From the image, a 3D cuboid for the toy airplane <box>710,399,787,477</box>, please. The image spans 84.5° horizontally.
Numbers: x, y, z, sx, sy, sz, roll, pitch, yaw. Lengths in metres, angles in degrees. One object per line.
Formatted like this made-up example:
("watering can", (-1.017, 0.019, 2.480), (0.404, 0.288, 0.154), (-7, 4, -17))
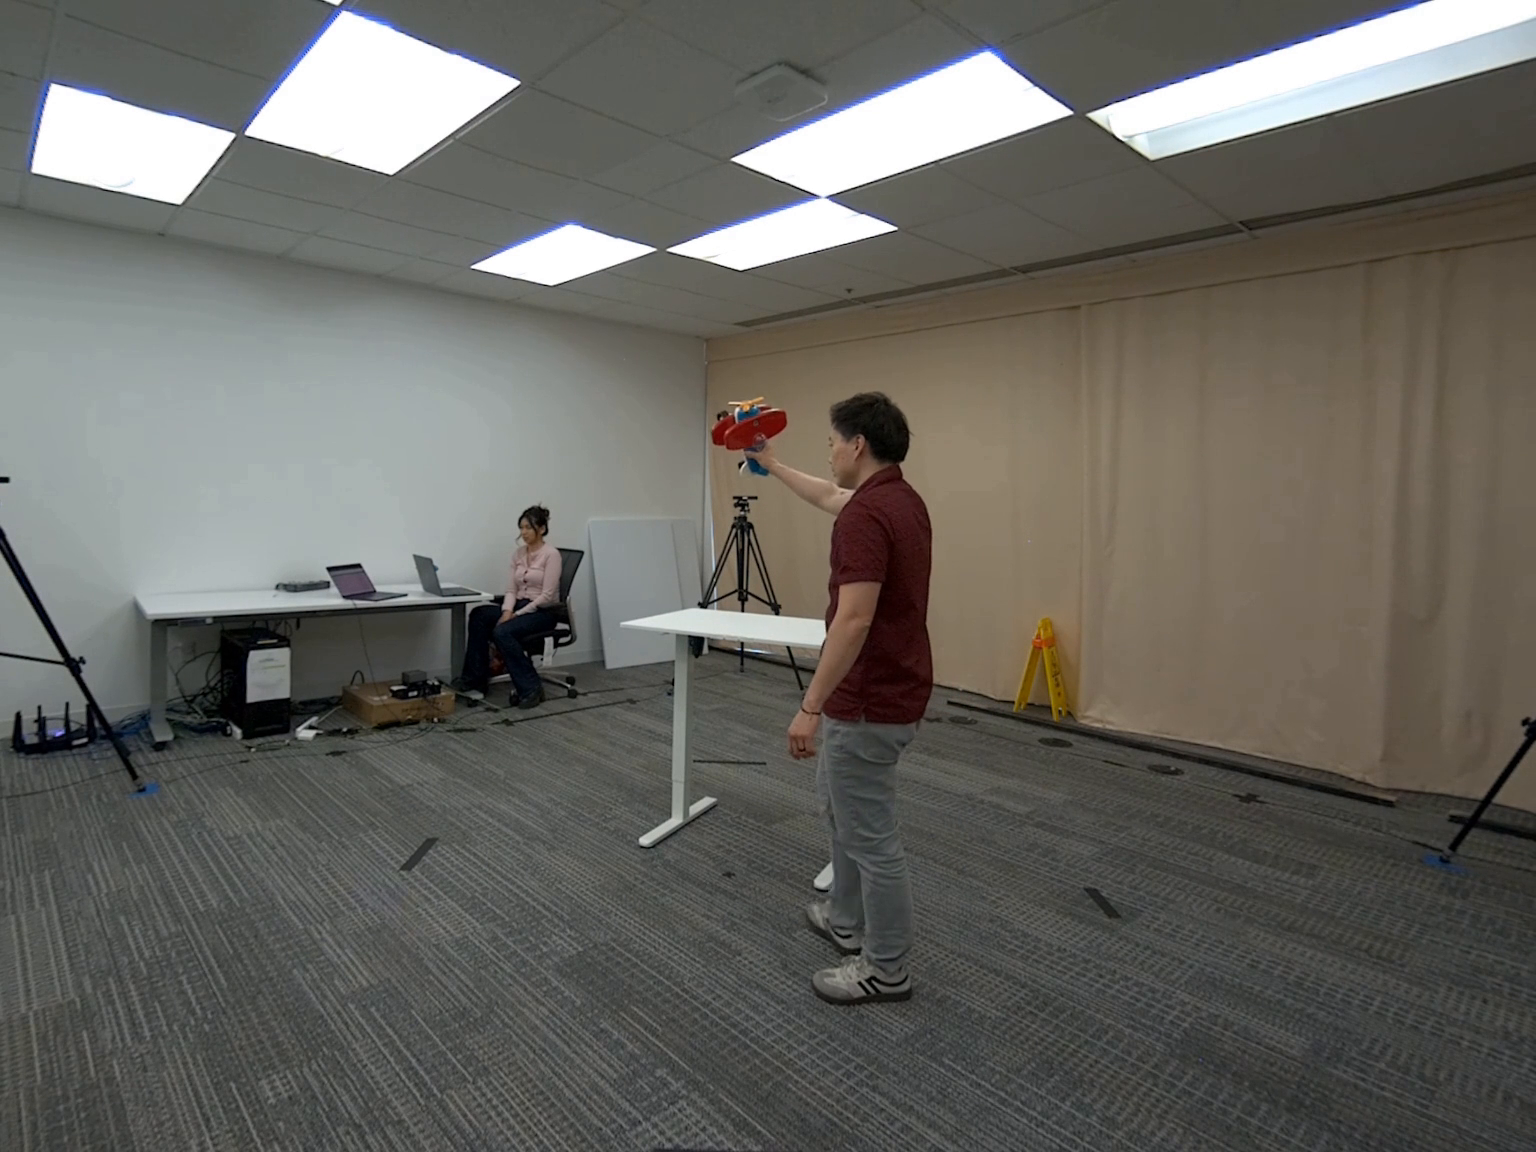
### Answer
("toy airplane", (-0.057, -0.474, 2.841), (0.252, 0.251, 0.160), (45, -19, -28))
